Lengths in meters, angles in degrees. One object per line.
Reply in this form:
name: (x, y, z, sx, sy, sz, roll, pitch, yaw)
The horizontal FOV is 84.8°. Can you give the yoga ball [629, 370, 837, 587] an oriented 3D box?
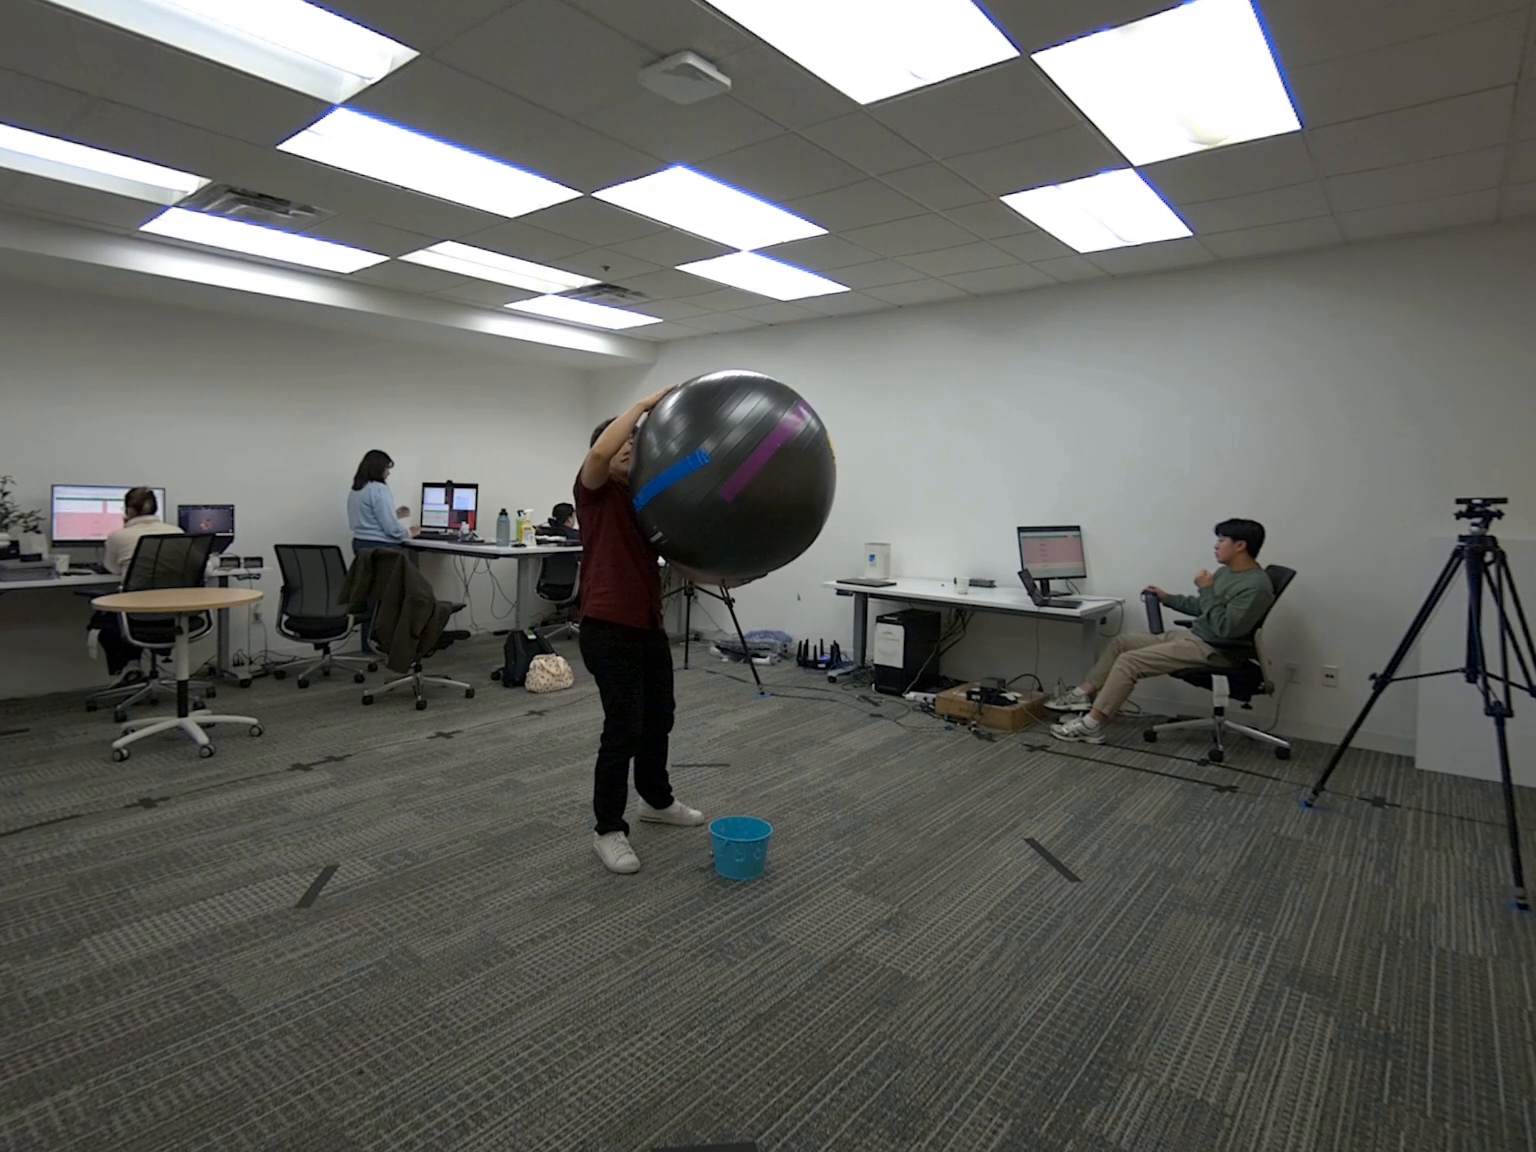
yoga ball: (-0.141, -0.363, 3.104, 0.757, 0.756, 0.762, 1, 4, -2)
